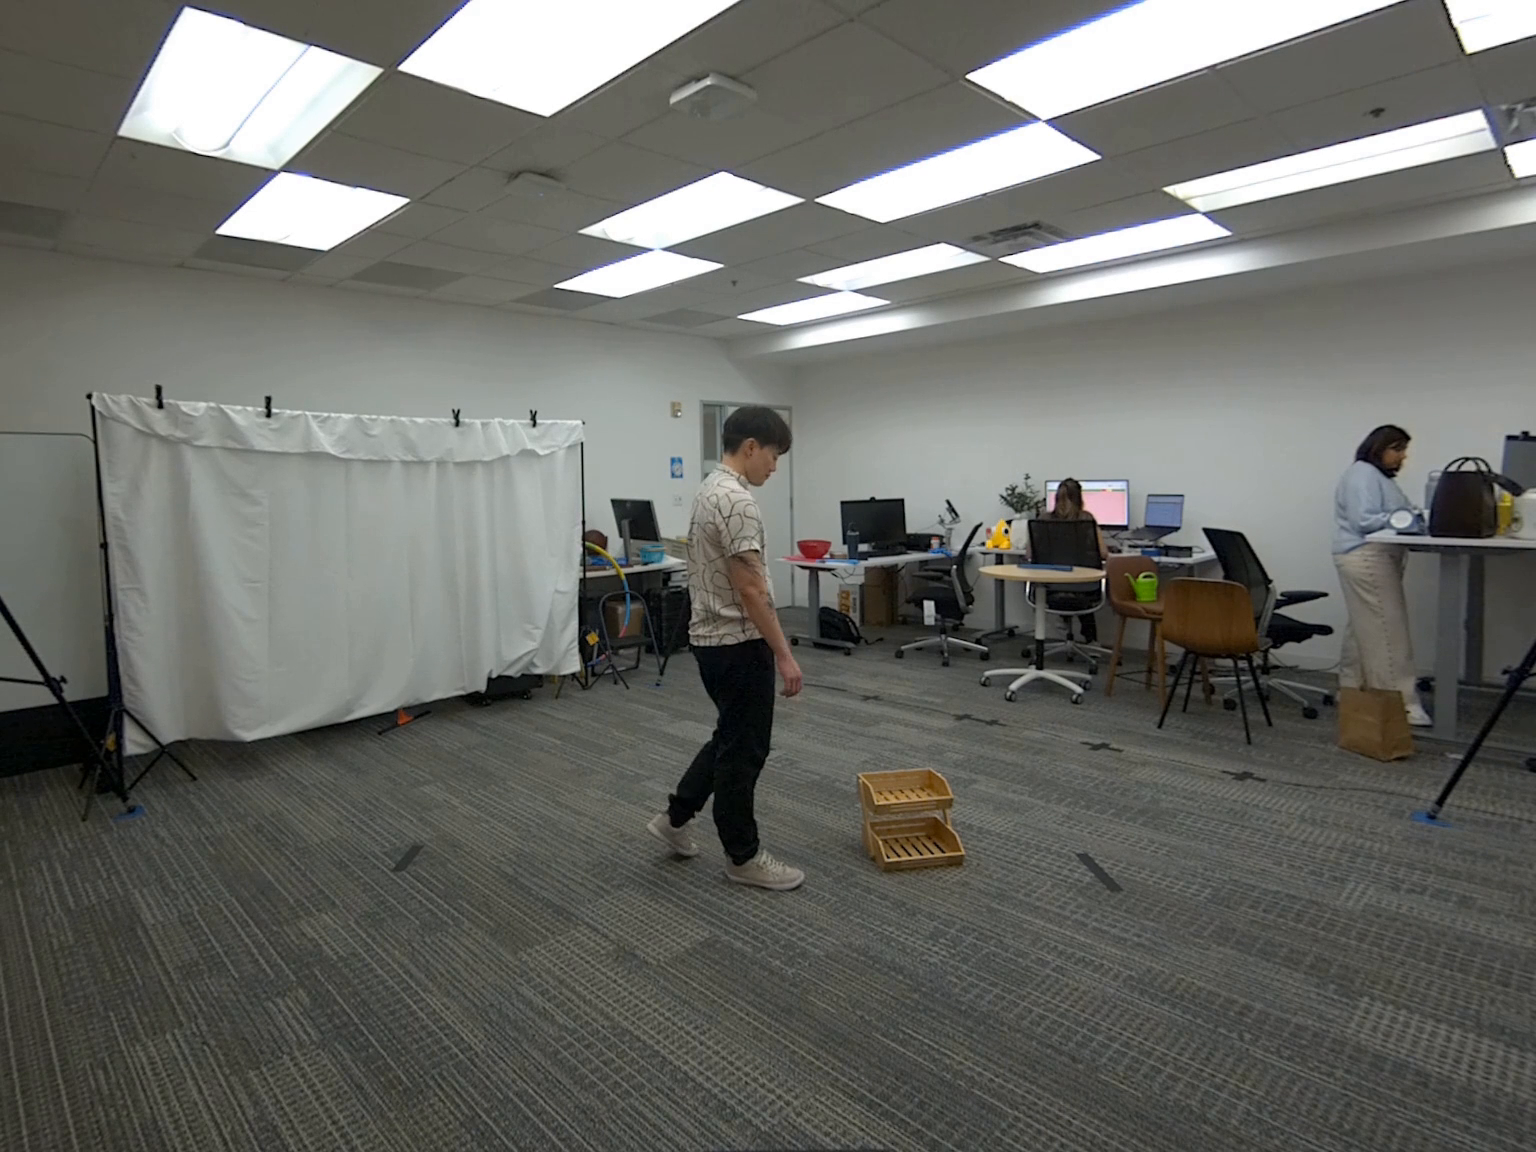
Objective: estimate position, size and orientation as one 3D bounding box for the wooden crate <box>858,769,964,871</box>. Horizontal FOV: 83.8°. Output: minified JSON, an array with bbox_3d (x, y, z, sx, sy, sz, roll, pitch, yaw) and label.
[{"bbox_3d":[0.532,0.897,3.166,0.321,0.272,0.306,-2,5,-11],"label":"wooden crate"}]
